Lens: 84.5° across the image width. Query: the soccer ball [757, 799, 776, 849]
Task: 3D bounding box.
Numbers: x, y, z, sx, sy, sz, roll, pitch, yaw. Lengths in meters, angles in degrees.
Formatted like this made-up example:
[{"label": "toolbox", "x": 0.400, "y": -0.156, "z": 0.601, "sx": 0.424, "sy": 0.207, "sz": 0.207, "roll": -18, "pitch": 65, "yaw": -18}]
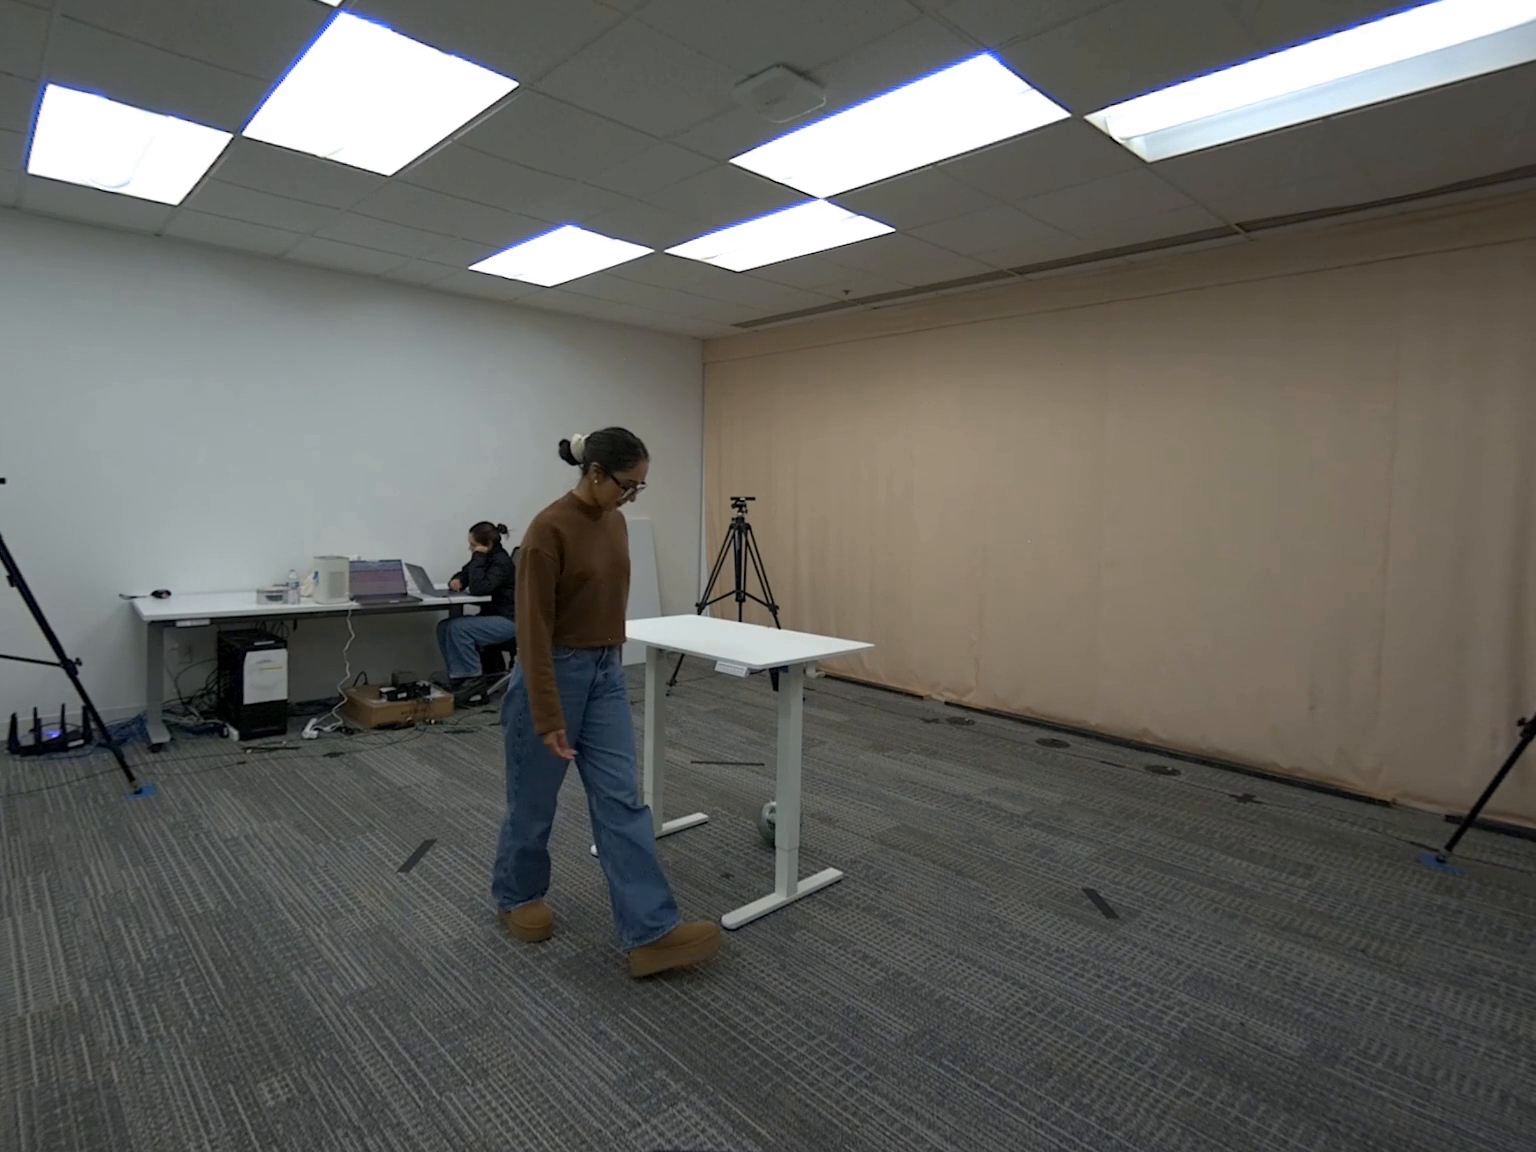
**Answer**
[{"label": "soccer ball", "x": 0.040, "y": 0.993, "z": 3.396, "sx": 0.187, "sy": 0.187, "sz": 0.188, "roll": 1, "pitch": 4, "yaw": -1}]
